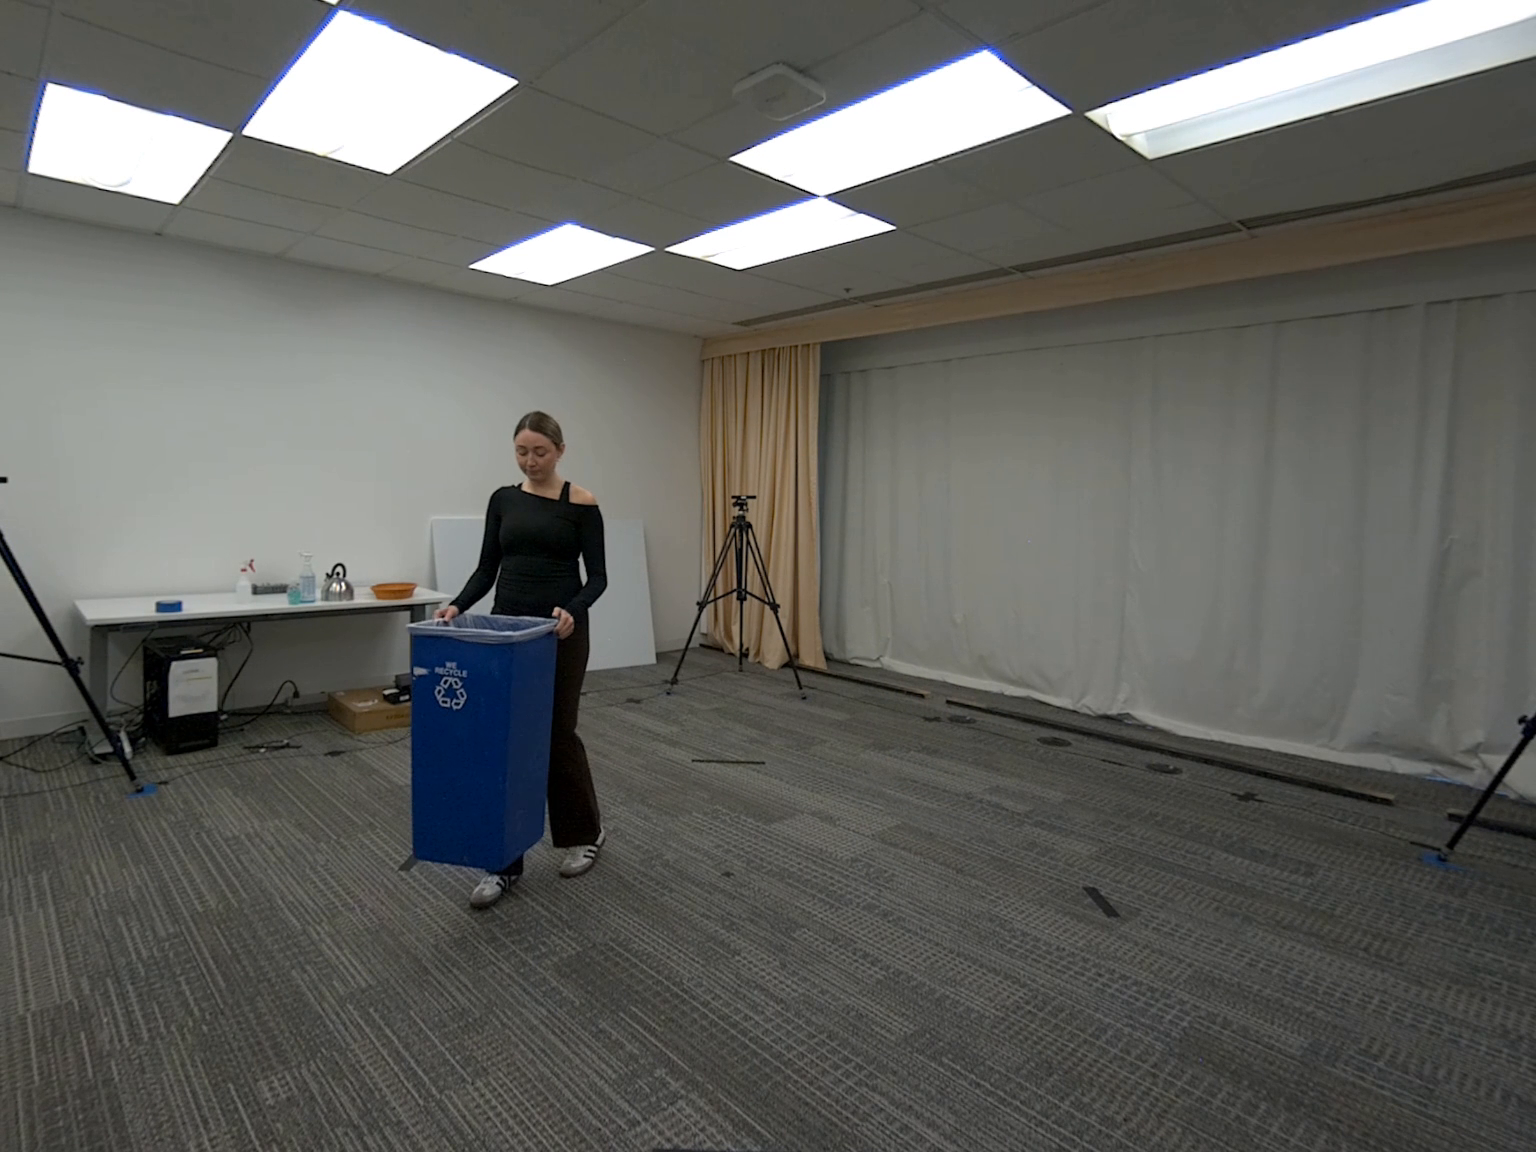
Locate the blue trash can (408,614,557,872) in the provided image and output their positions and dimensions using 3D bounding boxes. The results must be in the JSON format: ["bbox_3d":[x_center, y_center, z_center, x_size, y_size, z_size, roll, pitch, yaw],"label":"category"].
[{"bbox_3d":[-0.898,0.508,2.643,0.378,0.713,0.375,2,2,11],"label":"blue trash can"}]
